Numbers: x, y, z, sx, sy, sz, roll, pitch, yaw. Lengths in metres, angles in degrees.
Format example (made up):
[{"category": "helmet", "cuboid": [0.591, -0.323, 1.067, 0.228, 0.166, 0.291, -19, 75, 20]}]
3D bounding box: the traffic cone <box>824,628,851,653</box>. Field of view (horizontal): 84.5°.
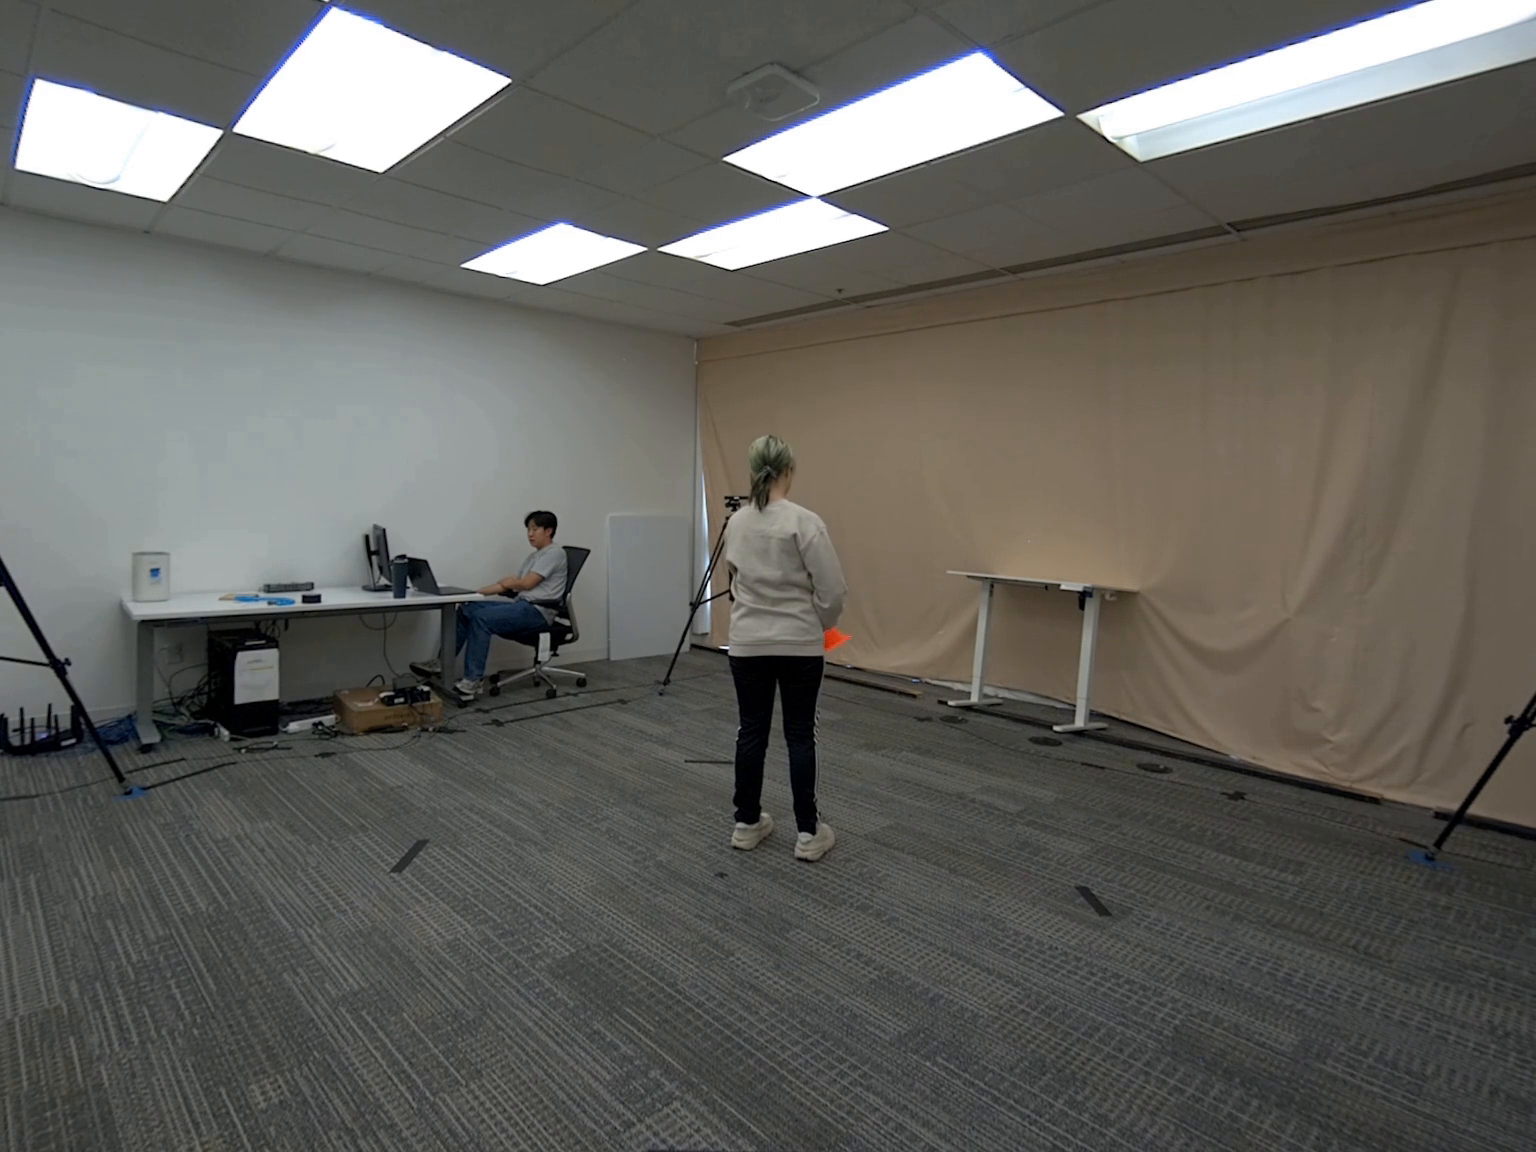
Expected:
[{"category": "traffic cone", "cuboid": [0.187, 0.136, 3.725, 0.206, 0.381, 0.203, -16, 8, 29]}]
